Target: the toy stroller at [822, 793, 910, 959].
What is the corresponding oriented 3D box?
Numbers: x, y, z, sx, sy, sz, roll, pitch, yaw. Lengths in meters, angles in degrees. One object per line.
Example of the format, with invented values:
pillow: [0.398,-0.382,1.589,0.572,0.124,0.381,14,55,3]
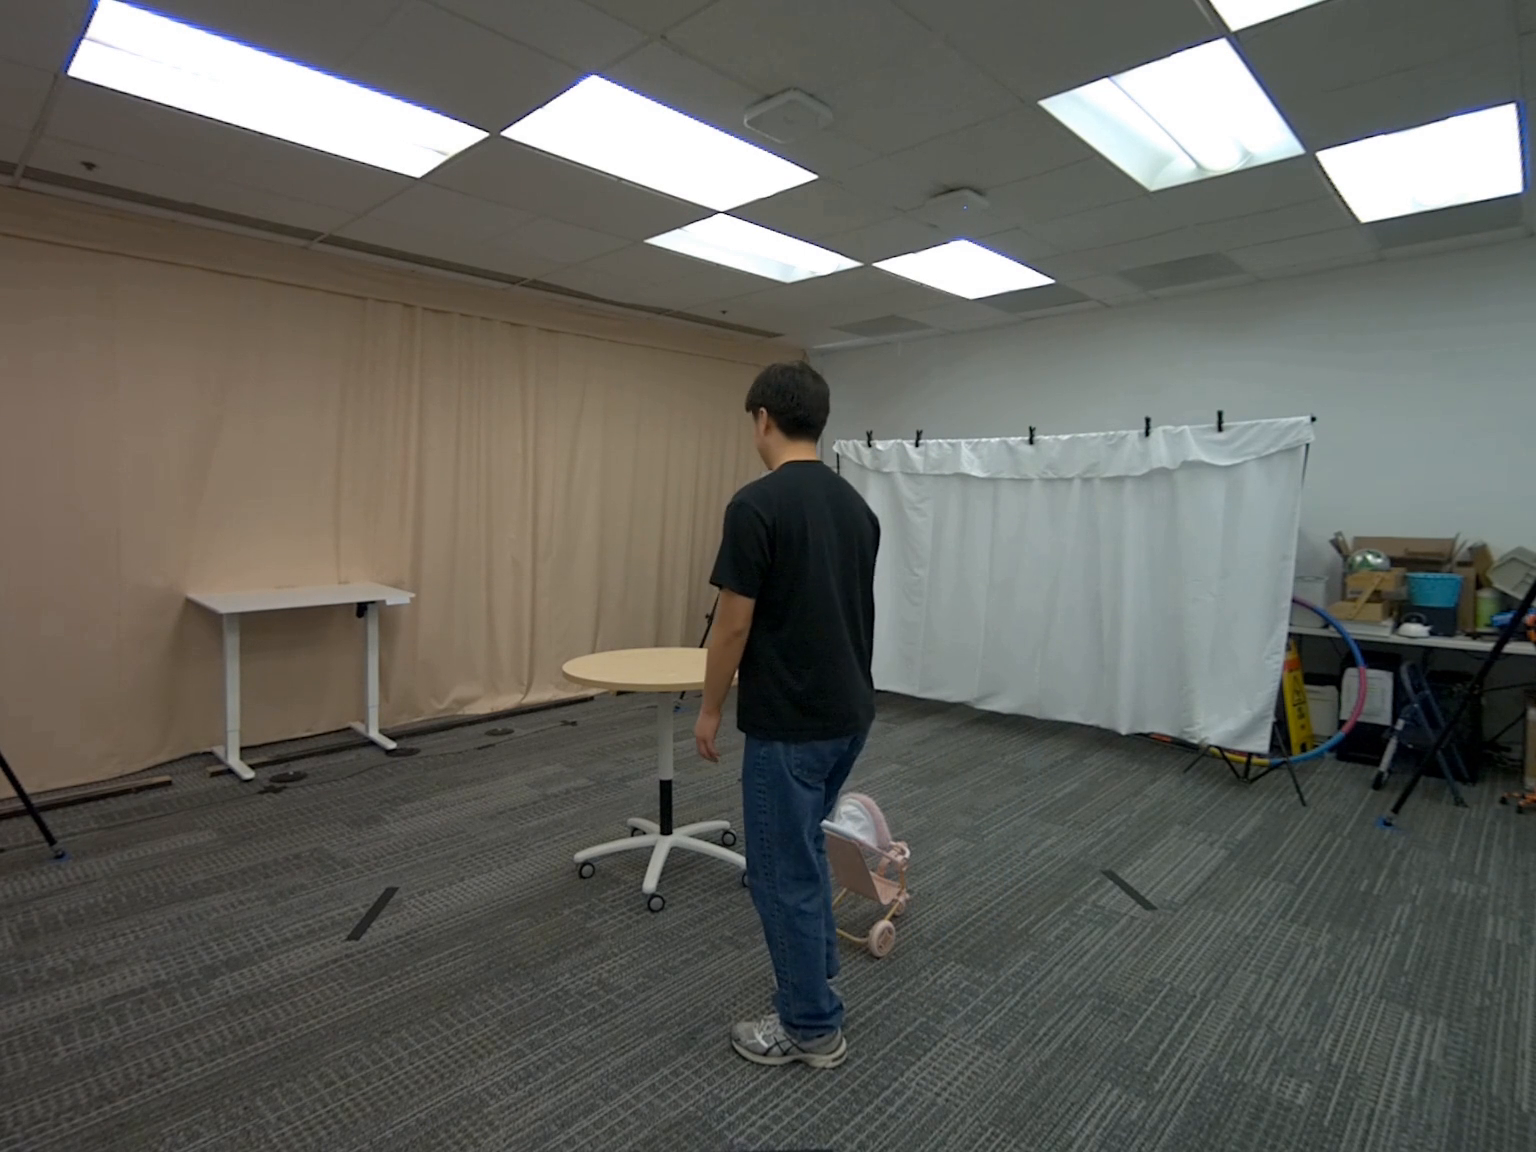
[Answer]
toy stroller: [0.315,0.939,2.723,0.334,0.529,0.291,-22,16,-37]
